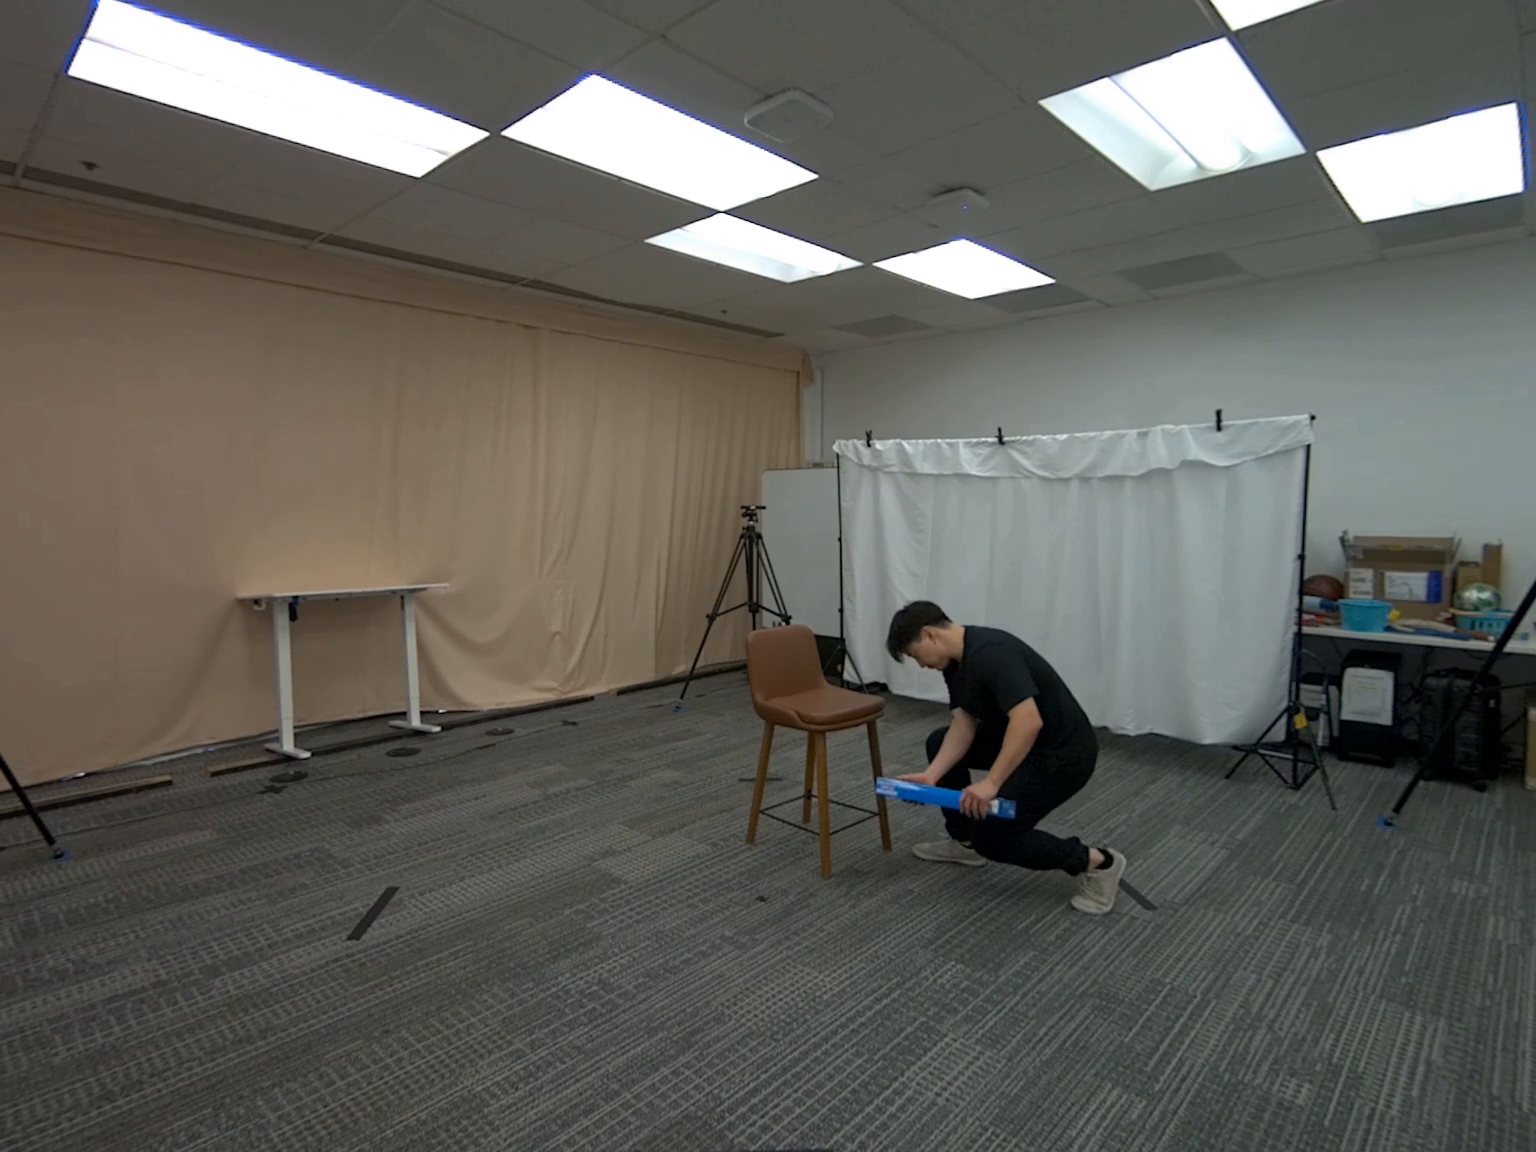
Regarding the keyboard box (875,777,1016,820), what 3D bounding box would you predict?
[{"bbox_3d":[0.613,0.767,2.917,0.450,0.059,0.170,2,-13,34],"label":"keyboard box"}]
